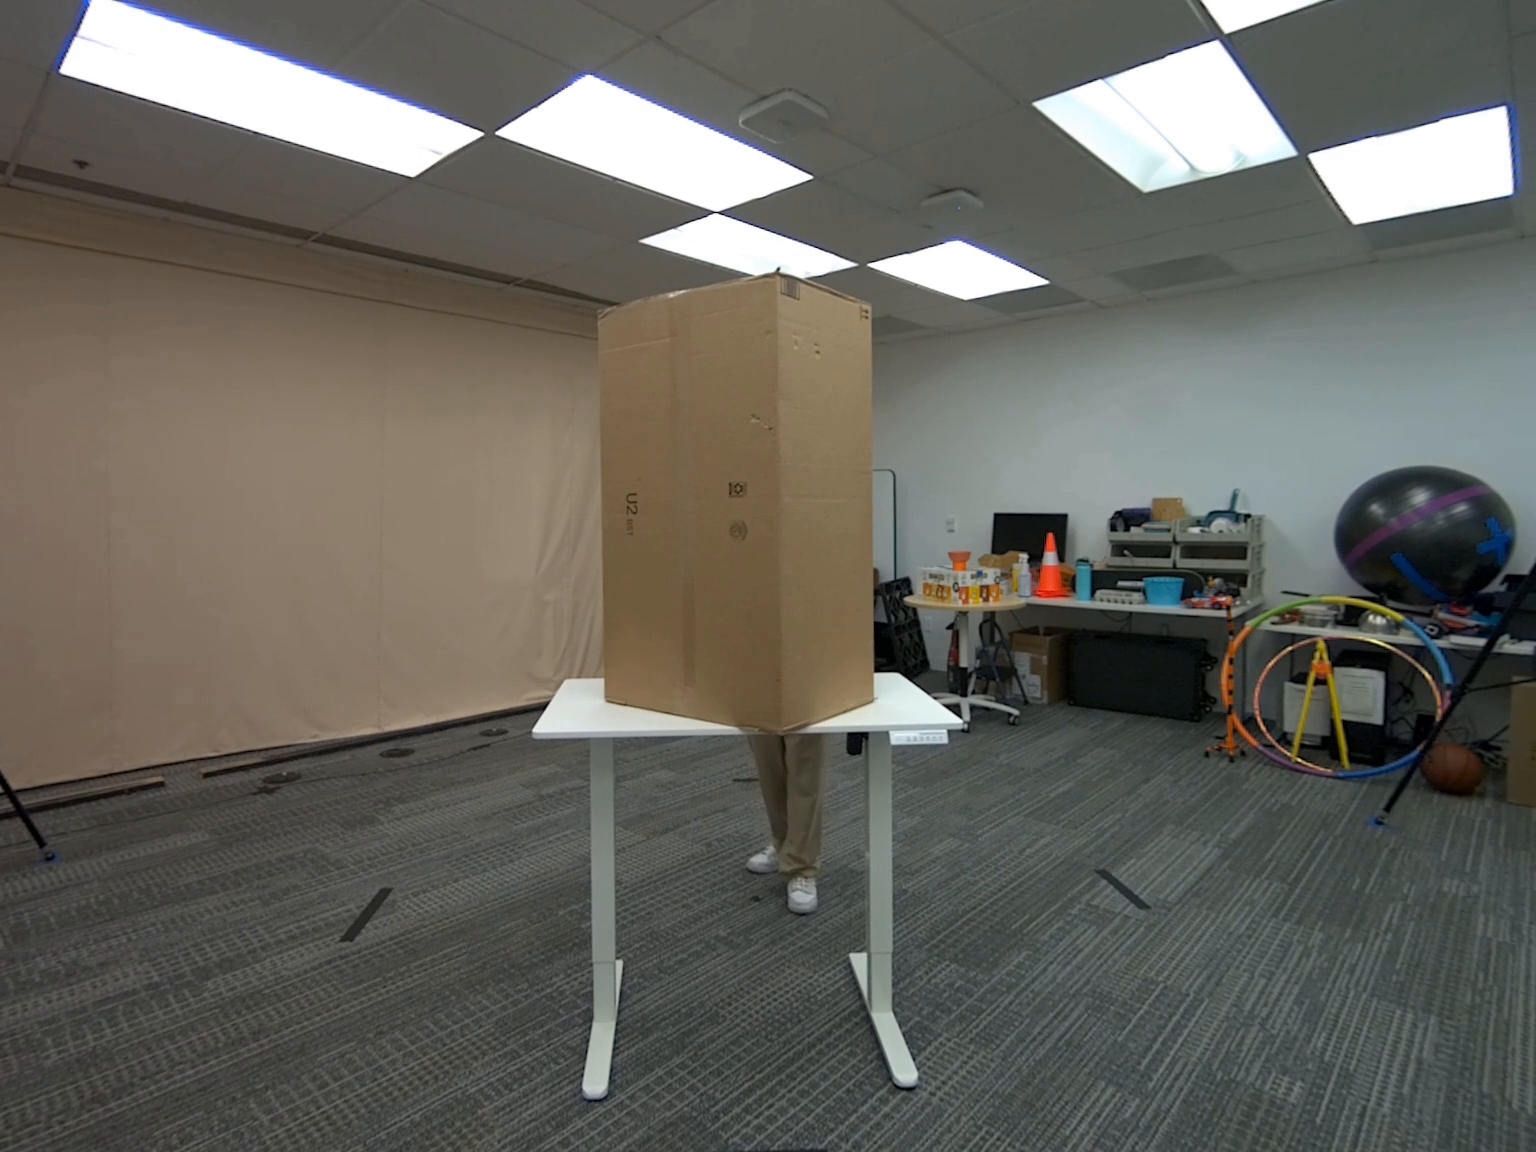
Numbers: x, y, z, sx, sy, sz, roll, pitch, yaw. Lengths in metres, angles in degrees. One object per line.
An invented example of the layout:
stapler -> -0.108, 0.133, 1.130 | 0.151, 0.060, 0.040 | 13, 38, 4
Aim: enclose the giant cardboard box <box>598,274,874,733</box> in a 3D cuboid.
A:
giant cardboard box -> -0.081, -0.180, 2.180 | 0.596, 1.024, 0.413 | 2, 3, 38
